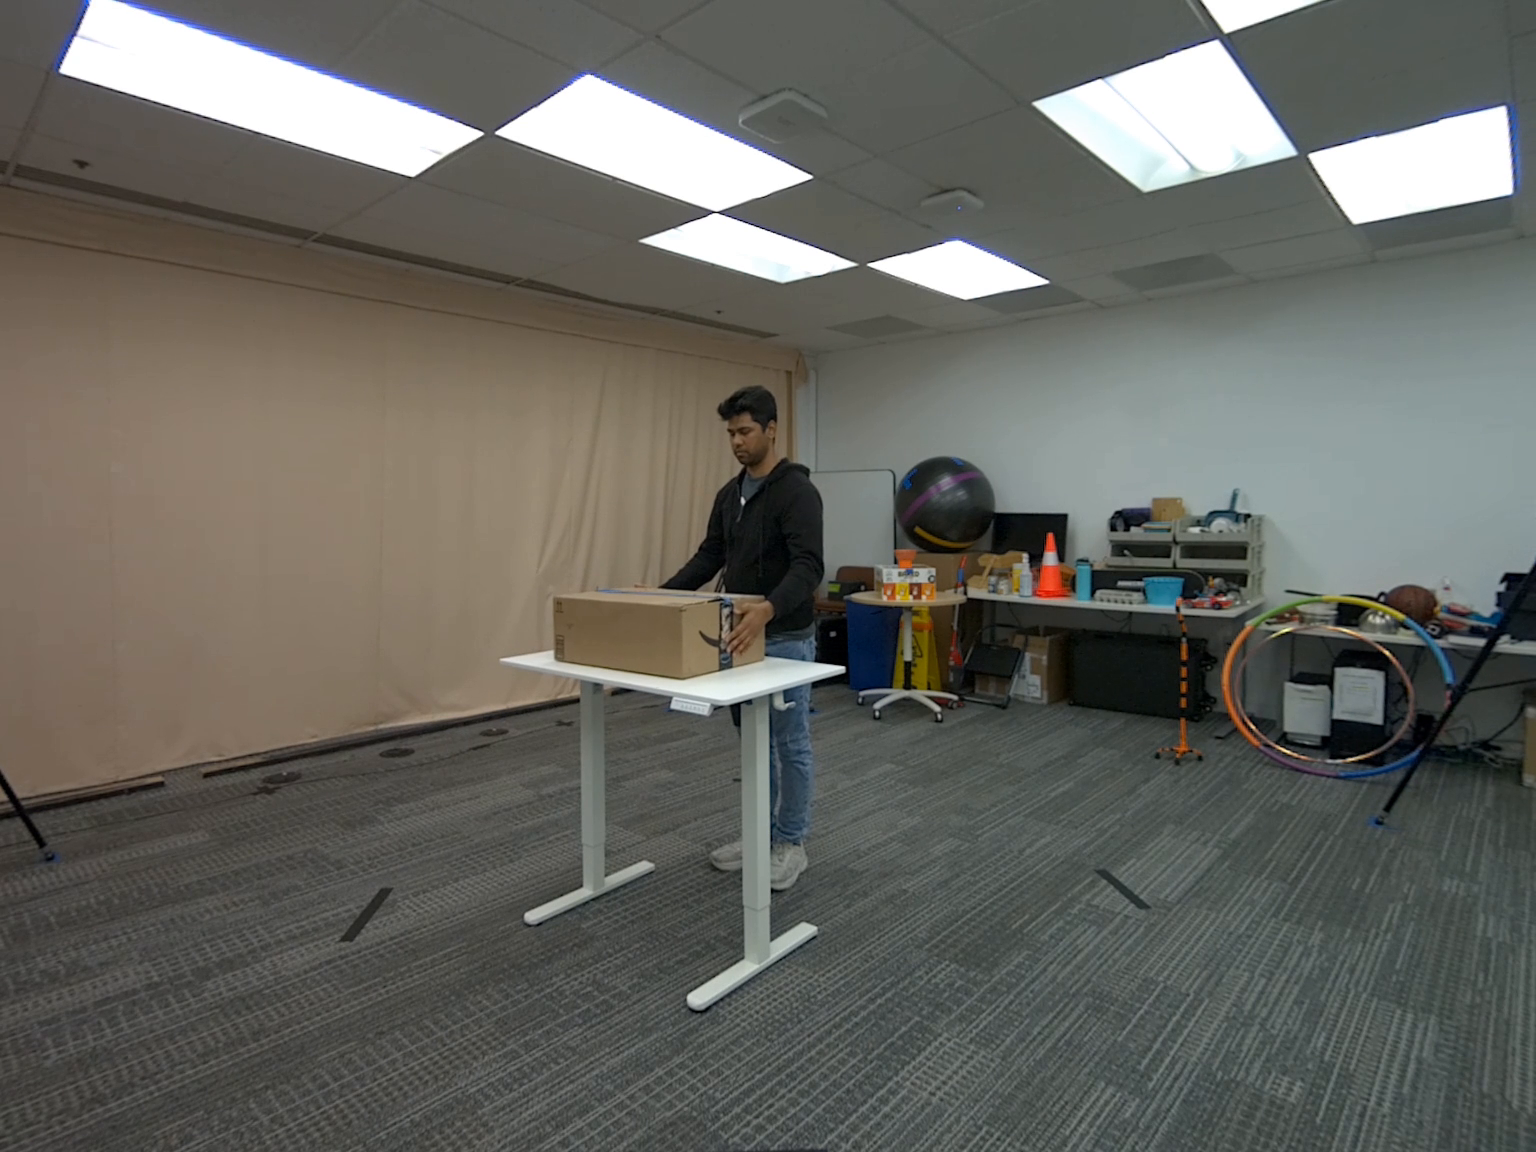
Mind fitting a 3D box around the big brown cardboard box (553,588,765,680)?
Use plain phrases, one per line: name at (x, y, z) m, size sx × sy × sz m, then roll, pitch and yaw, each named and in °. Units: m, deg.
big brown cardboard box at (-0.356, 0.171, 2.784) m, size 0.608 × 0.233 × 0.405 m, roll 2°, pitch 4°, yaw 37°
